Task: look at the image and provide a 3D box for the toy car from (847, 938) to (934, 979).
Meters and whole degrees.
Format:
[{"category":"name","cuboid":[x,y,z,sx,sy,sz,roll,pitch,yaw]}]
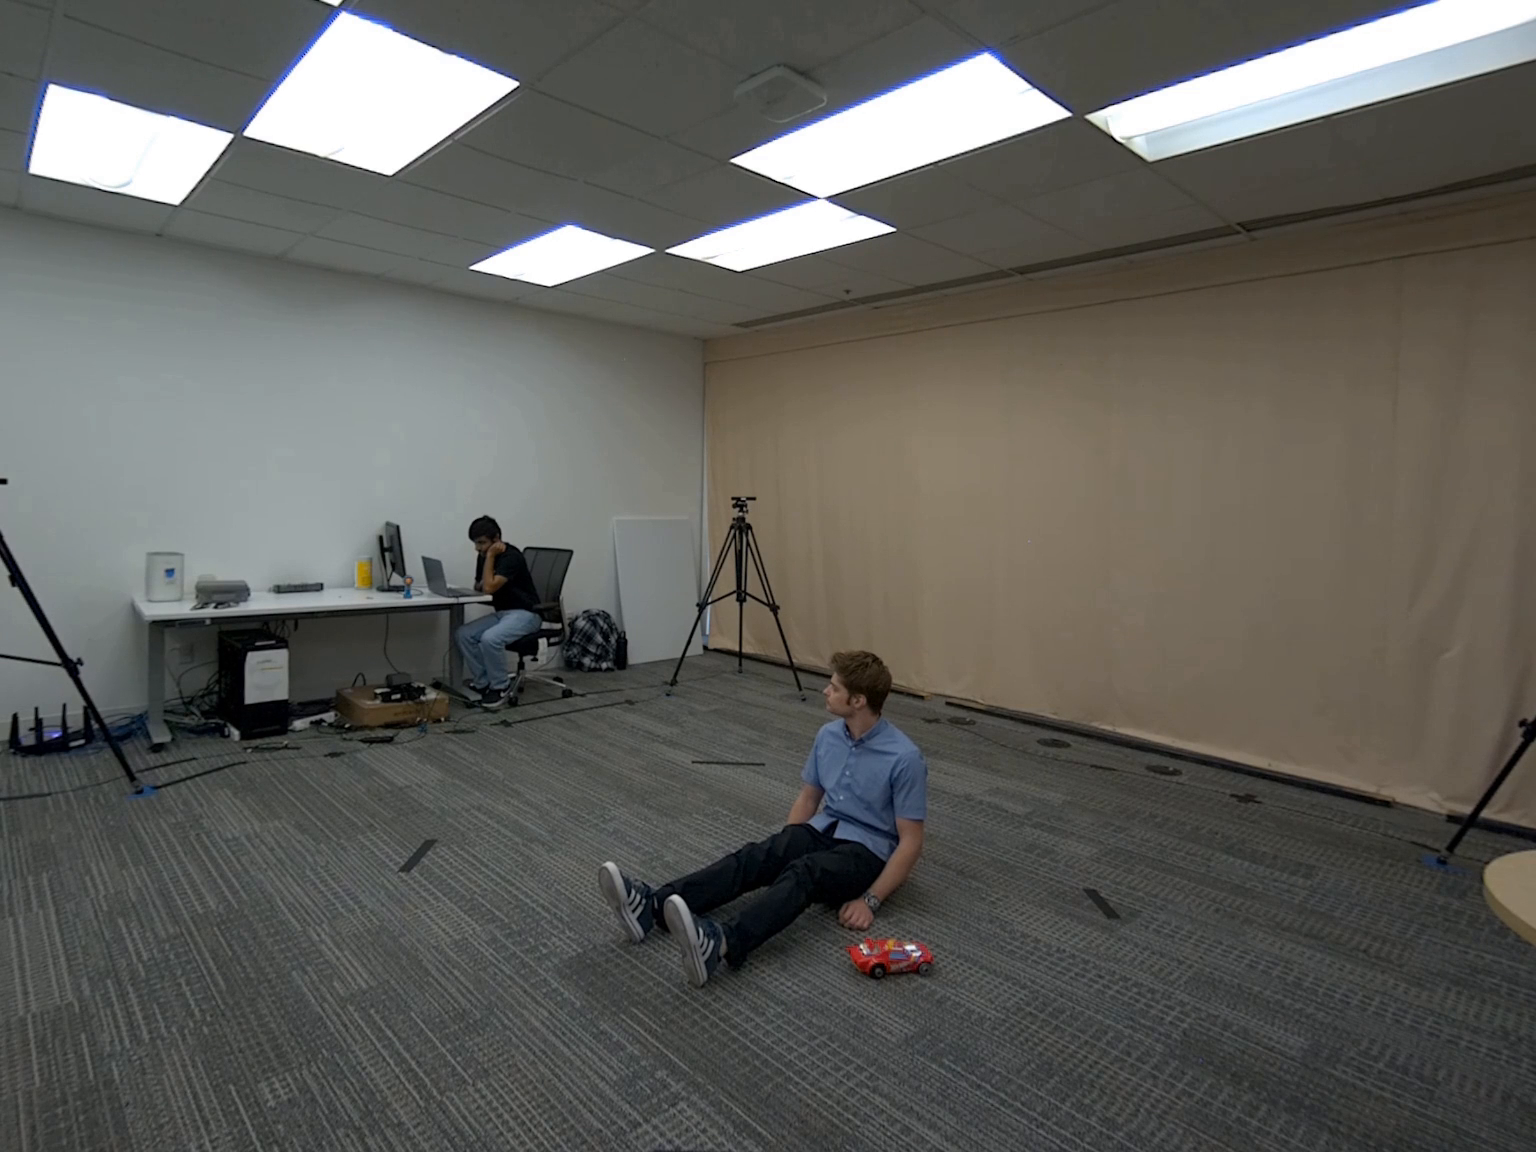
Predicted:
[{"category":"toy car","cuboid":[0.368,1.149,2.506,0.251,0.083,0.132,10,4,-14]}]
